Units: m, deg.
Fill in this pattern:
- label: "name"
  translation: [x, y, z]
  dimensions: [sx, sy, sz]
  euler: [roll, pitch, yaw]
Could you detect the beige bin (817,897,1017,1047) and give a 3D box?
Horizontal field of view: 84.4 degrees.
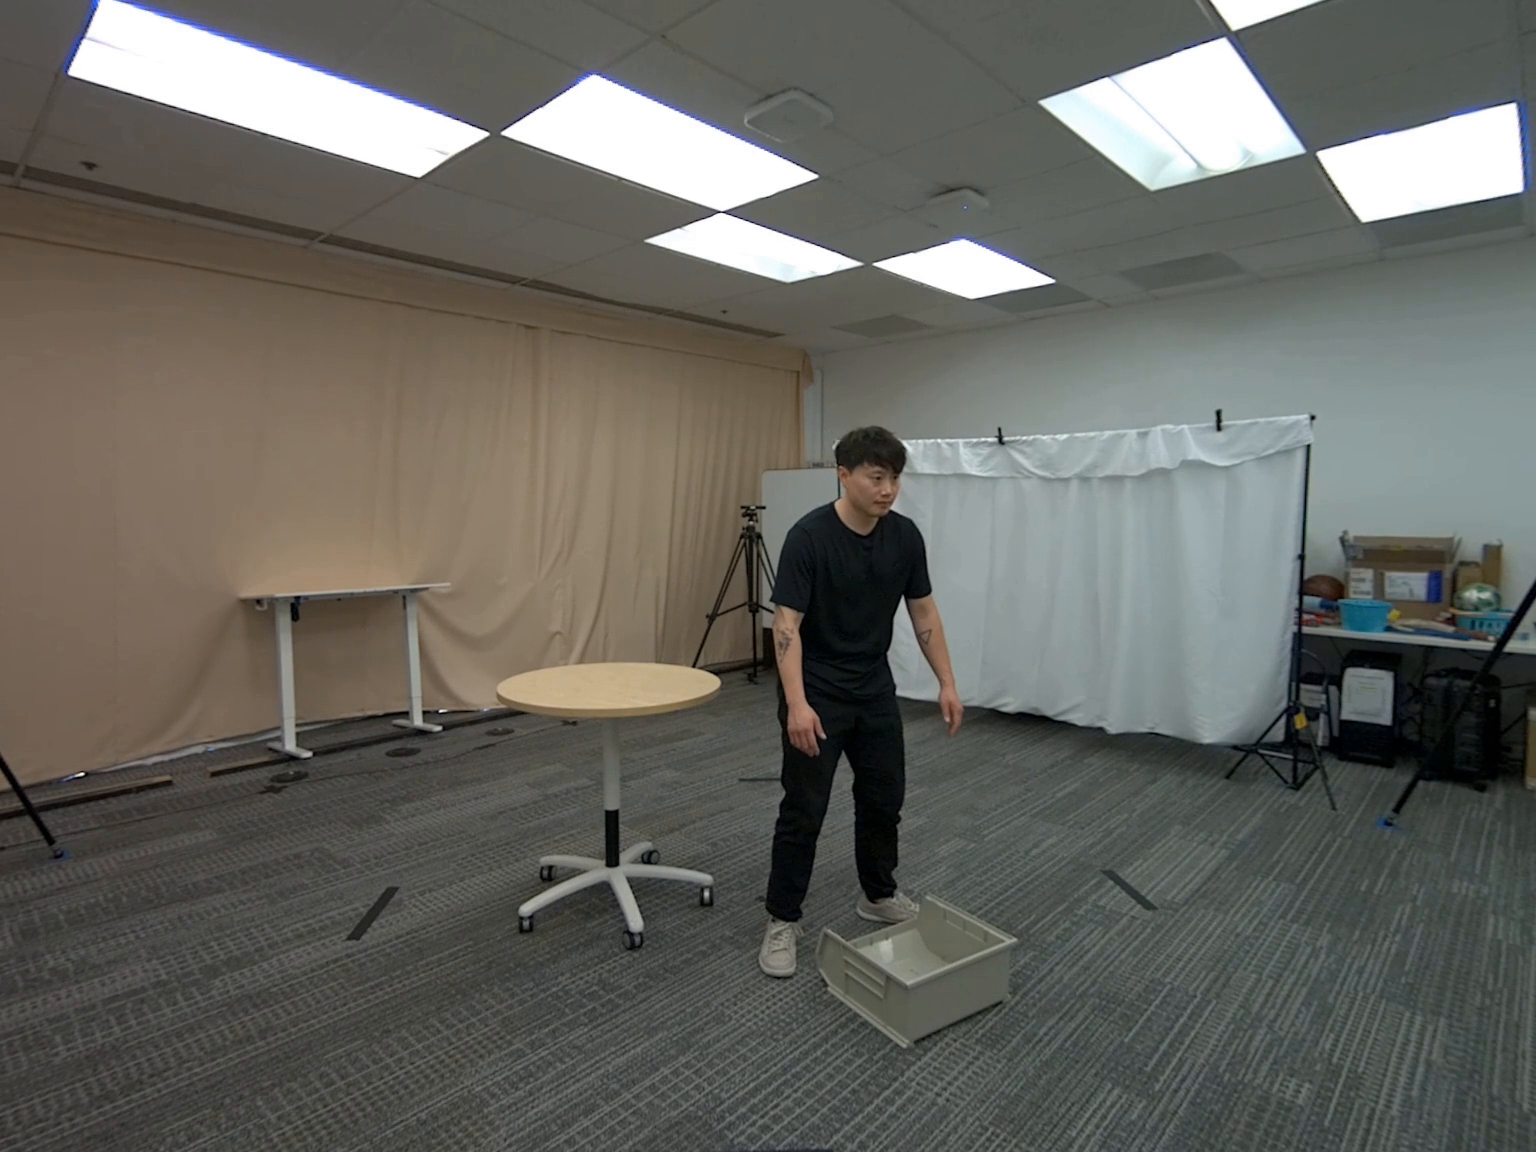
- label: "beige bin"
  translation: [0.423, 1.102, 2.404]
  dimensions: [0.410, 0.188, 0.389]
  euler: [-2, 5, -33]
